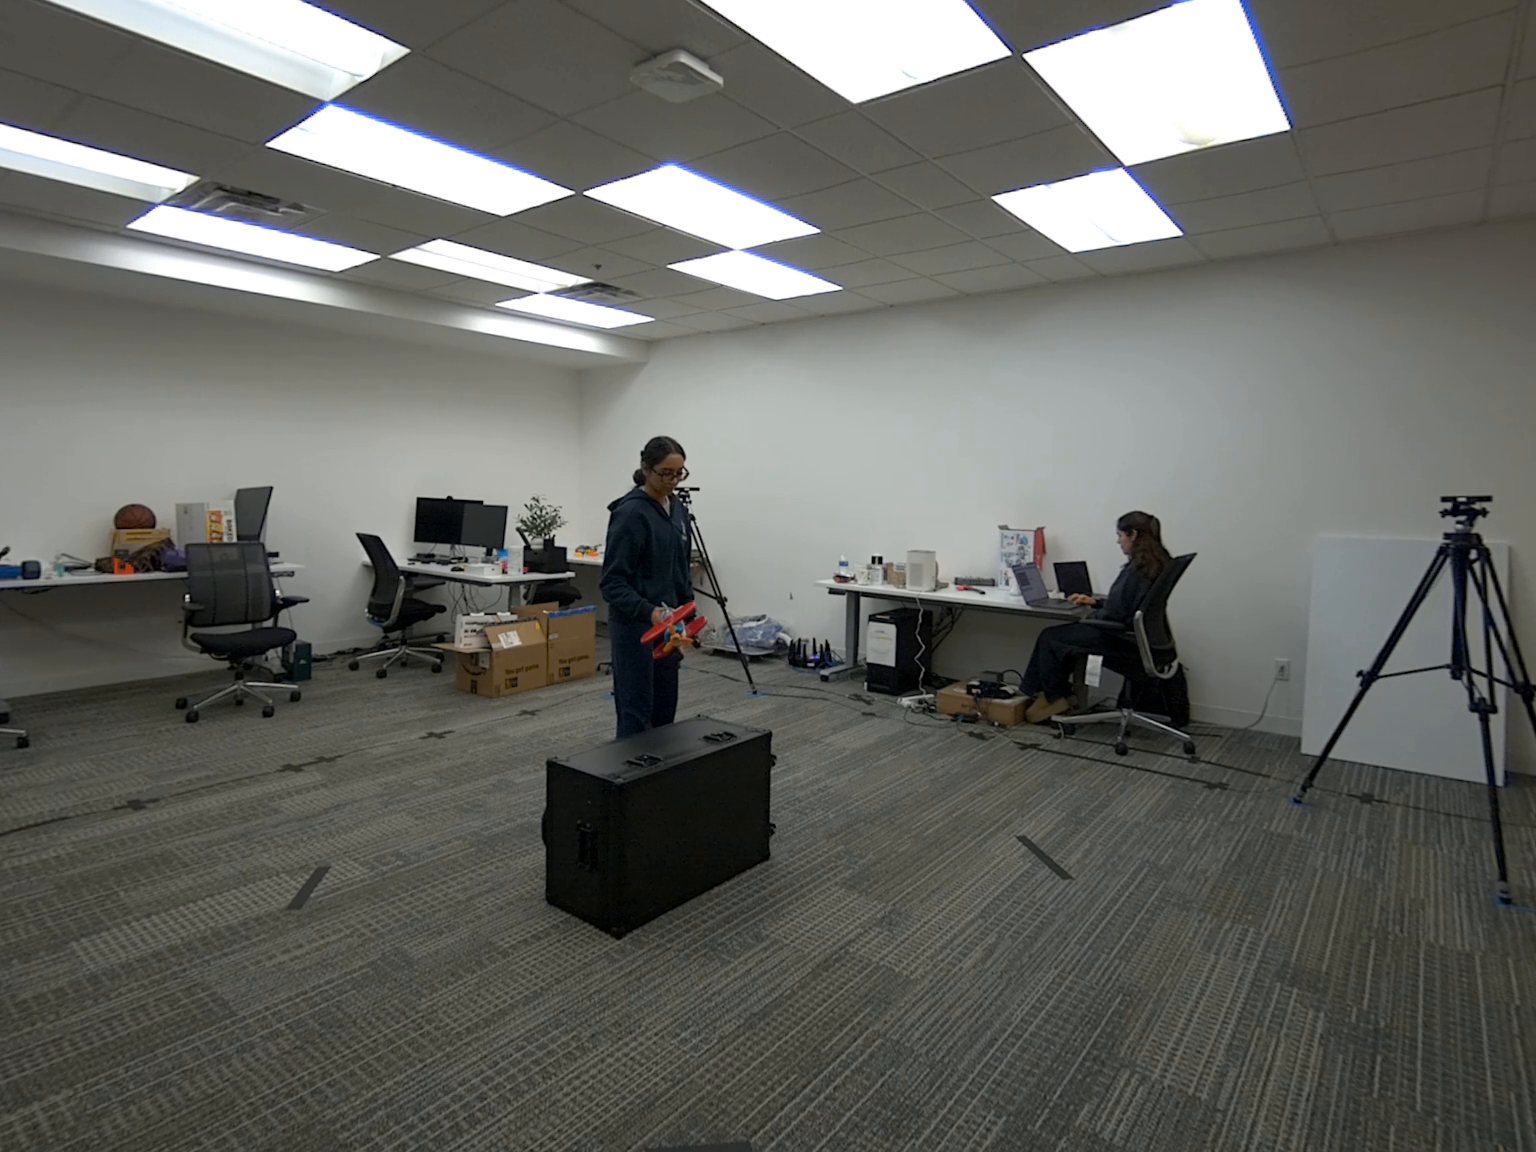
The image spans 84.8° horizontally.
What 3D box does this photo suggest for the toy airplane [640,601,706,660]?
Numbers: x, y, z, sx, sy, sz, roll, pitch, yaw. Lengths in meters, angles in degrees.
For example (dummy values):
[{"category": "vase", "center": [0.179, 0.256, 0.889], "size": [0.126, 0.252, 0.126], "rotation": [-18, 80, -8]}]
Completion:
[{"category": "toy airplane", "center": [-0.392, 0.213, 3.321], "size": [0.269, 0.150, 0.251], "rotation": [14, 57, 48]}]
